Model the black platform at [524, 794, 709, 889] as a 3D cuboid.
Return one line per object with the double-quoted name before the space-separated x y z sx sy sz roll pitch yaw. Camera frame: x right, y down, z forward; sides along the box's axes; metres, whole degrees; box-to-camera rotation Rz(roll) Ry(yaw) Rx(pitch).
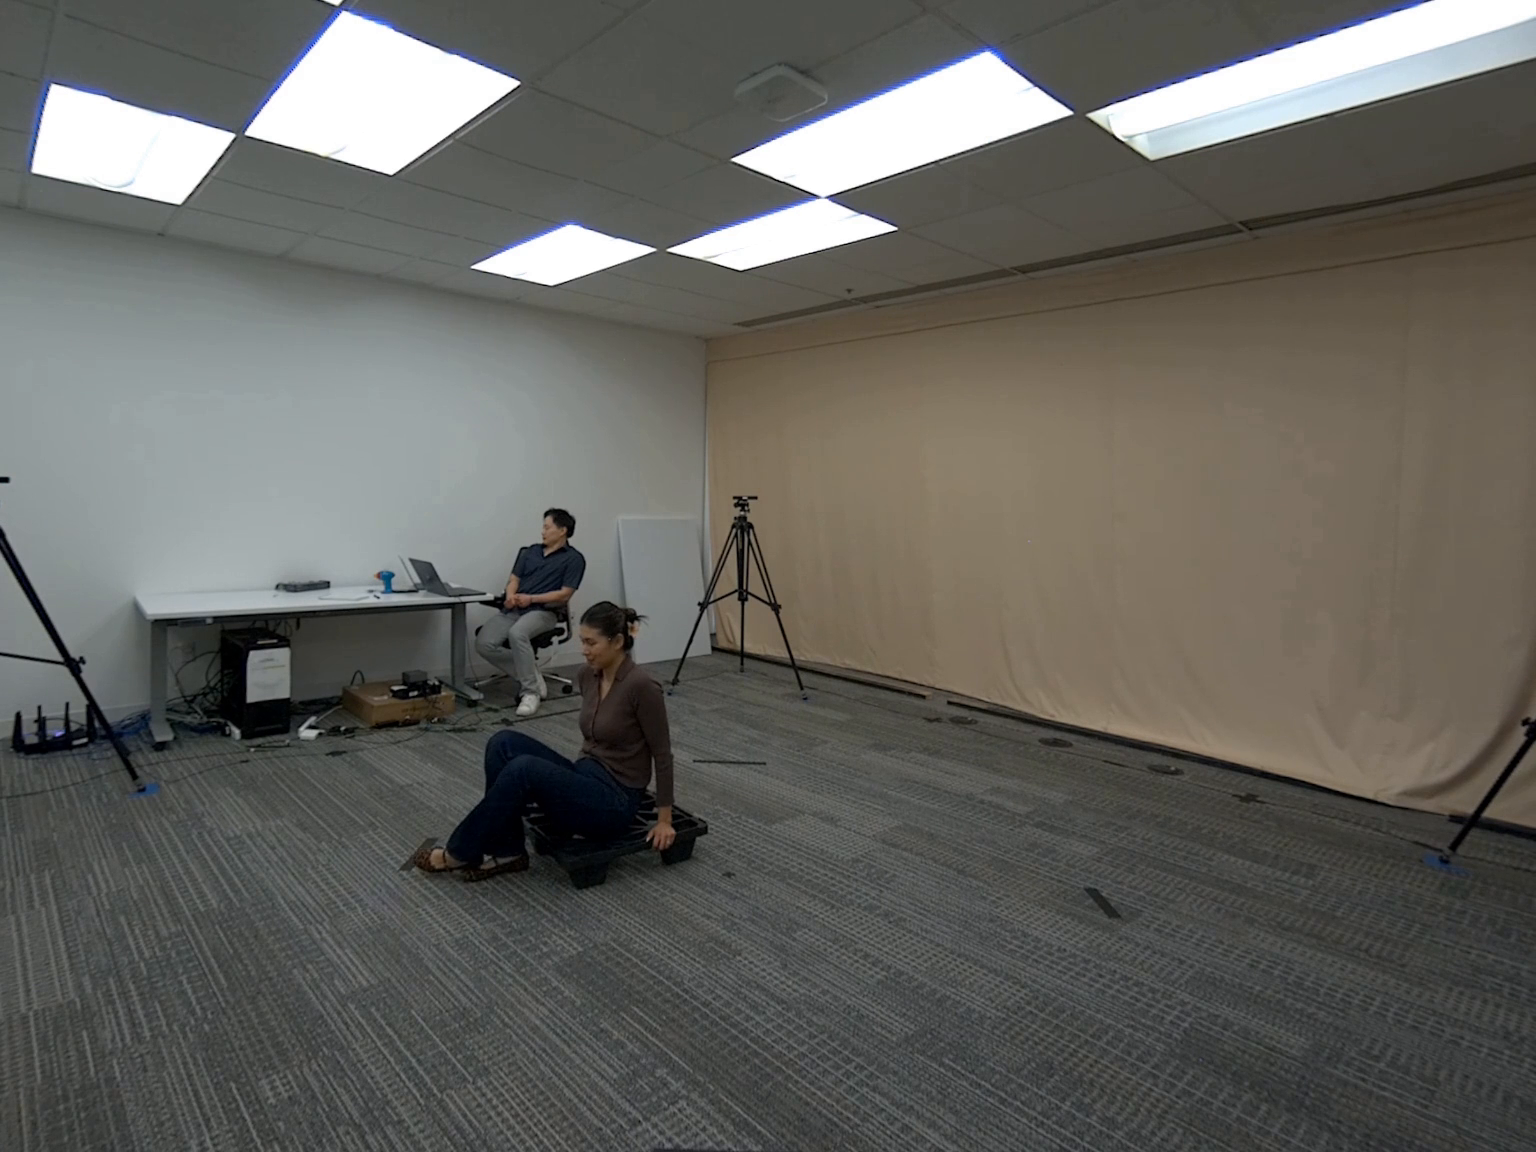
"black platform" -0.710 1.002 3.387 0.592 0.143 0.826 -2 7 -37
